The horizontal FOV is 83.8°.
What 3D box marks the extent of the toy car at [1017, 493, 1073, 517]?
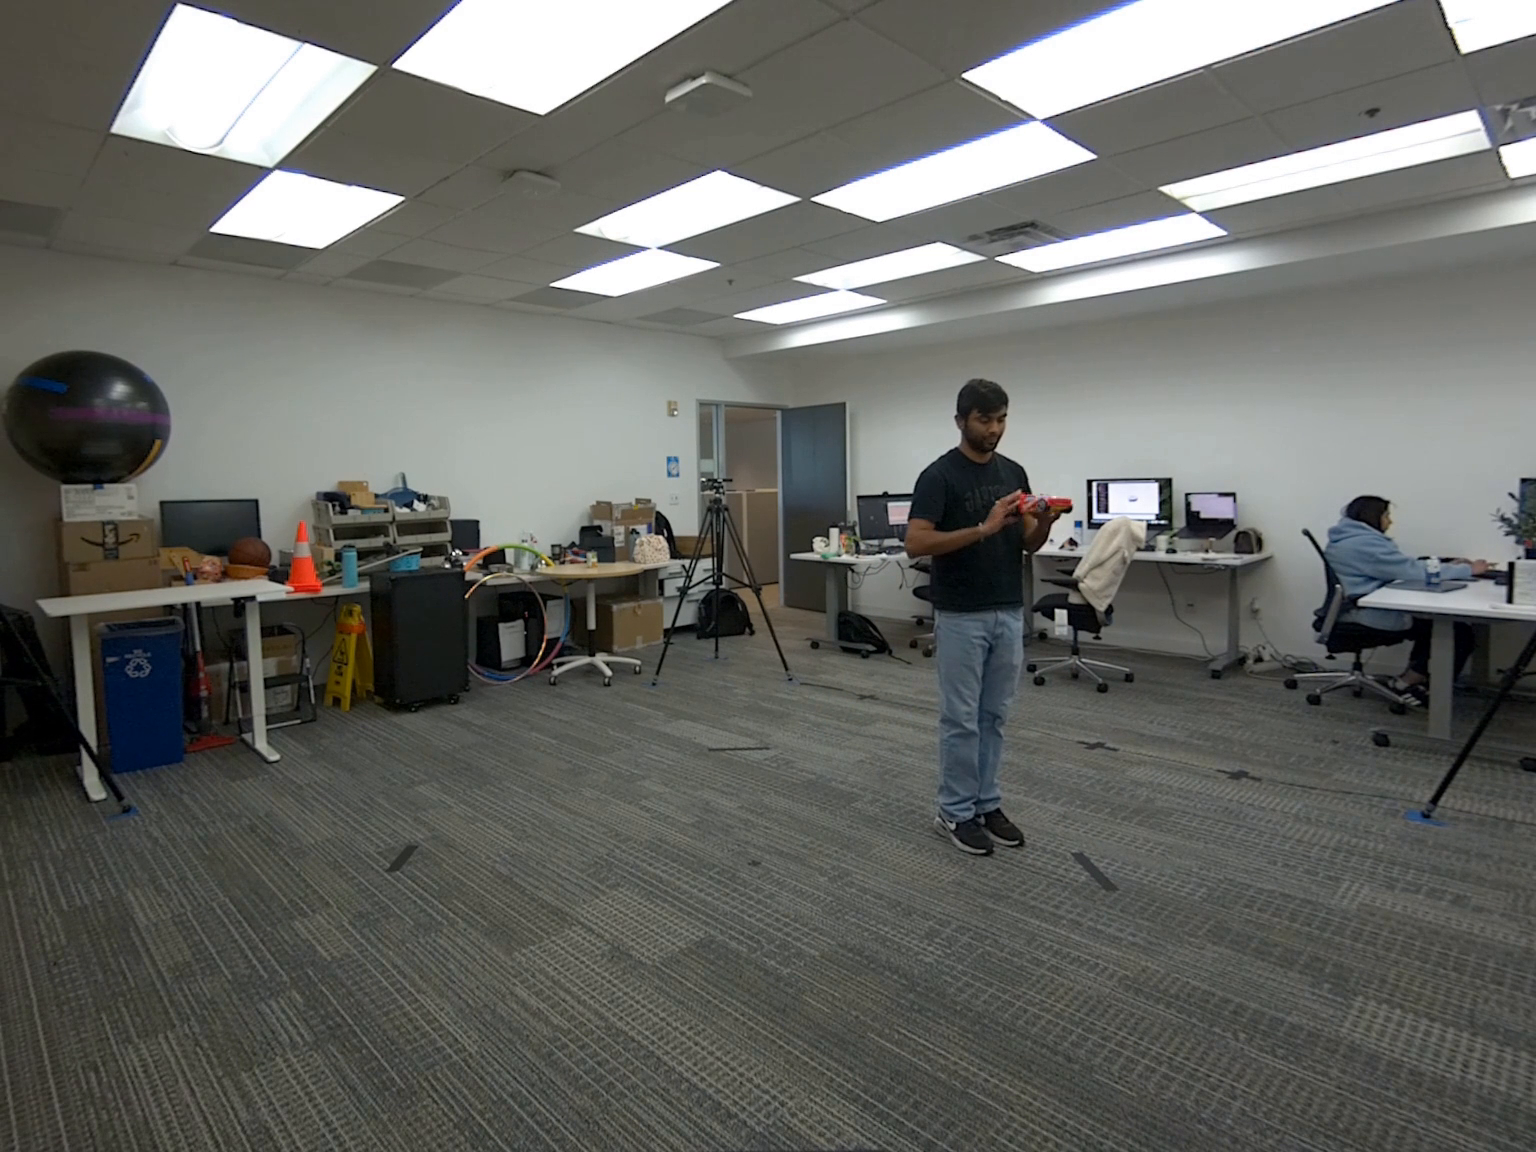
[{"bbox_3d":[0.923,-0.242,2.953,0.128,0.083,0.259,0,7,-16],"label":"toy car"}]
